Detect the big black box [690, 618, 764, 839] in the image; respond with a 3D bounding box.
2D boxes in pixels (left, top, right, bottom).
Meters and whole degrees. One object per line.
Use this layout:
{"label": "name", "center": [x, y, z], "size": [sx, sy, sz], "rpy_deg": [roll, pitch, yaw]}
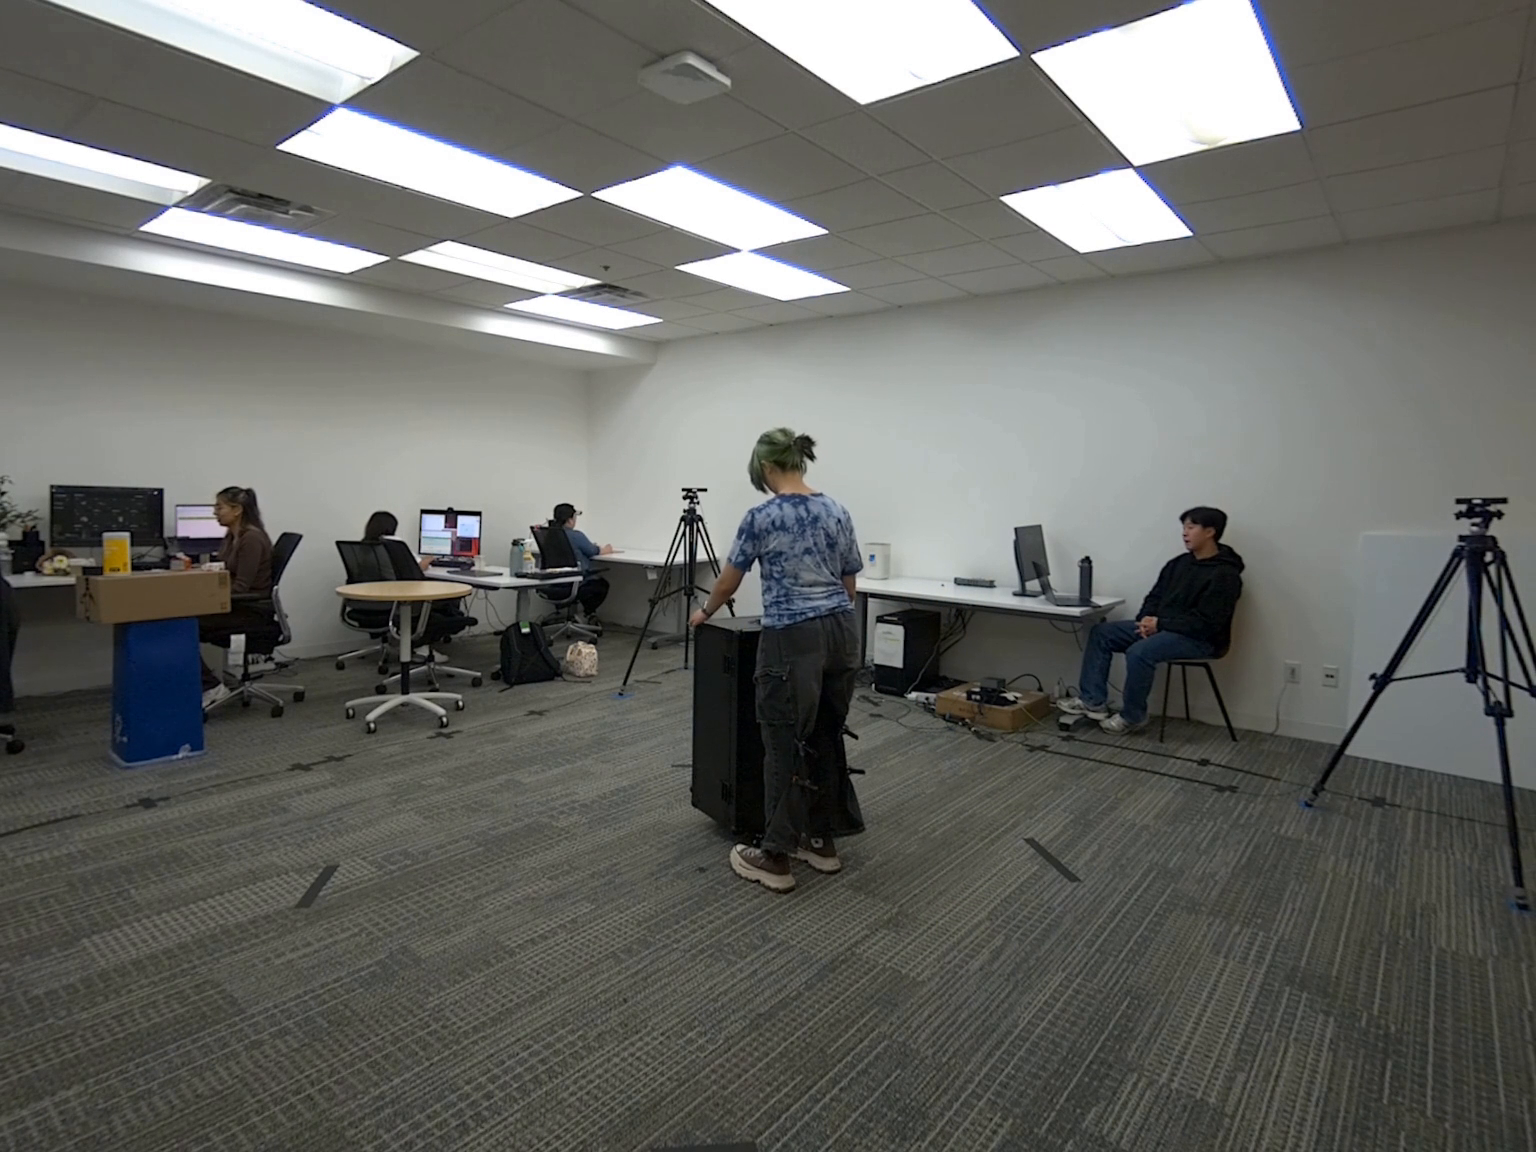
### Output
{"label": "big black box", "center": [-0.040, 0.614, 3.515], "size": [0.507, 0.860, 0.408], "rpy_deg": [-1, 2, -32]}
